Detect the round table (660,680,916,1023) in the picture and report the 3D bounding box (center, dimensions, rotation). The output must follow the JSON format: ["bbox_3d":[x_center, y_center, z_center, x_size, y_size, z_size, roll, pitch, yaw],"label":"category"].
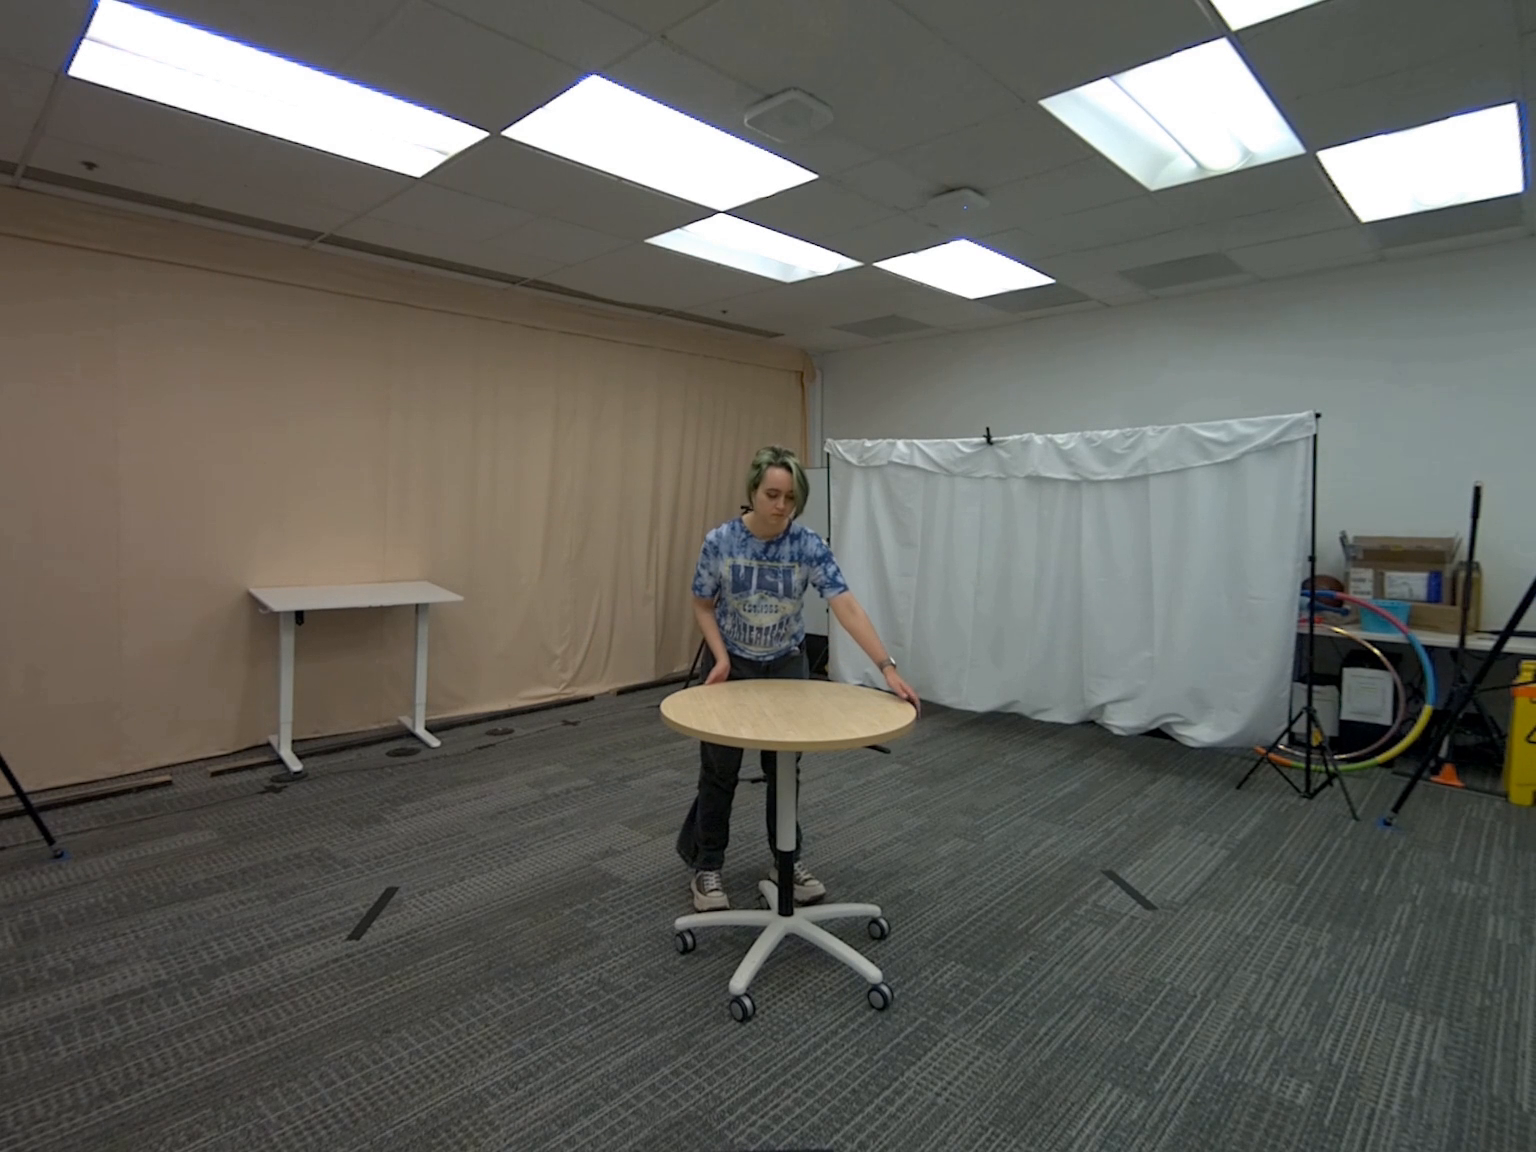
[{"bbox_3d":[0.069,0.788,2.568,0.763,0.792,0.767,0,4,-2],"label":"round table"}]
